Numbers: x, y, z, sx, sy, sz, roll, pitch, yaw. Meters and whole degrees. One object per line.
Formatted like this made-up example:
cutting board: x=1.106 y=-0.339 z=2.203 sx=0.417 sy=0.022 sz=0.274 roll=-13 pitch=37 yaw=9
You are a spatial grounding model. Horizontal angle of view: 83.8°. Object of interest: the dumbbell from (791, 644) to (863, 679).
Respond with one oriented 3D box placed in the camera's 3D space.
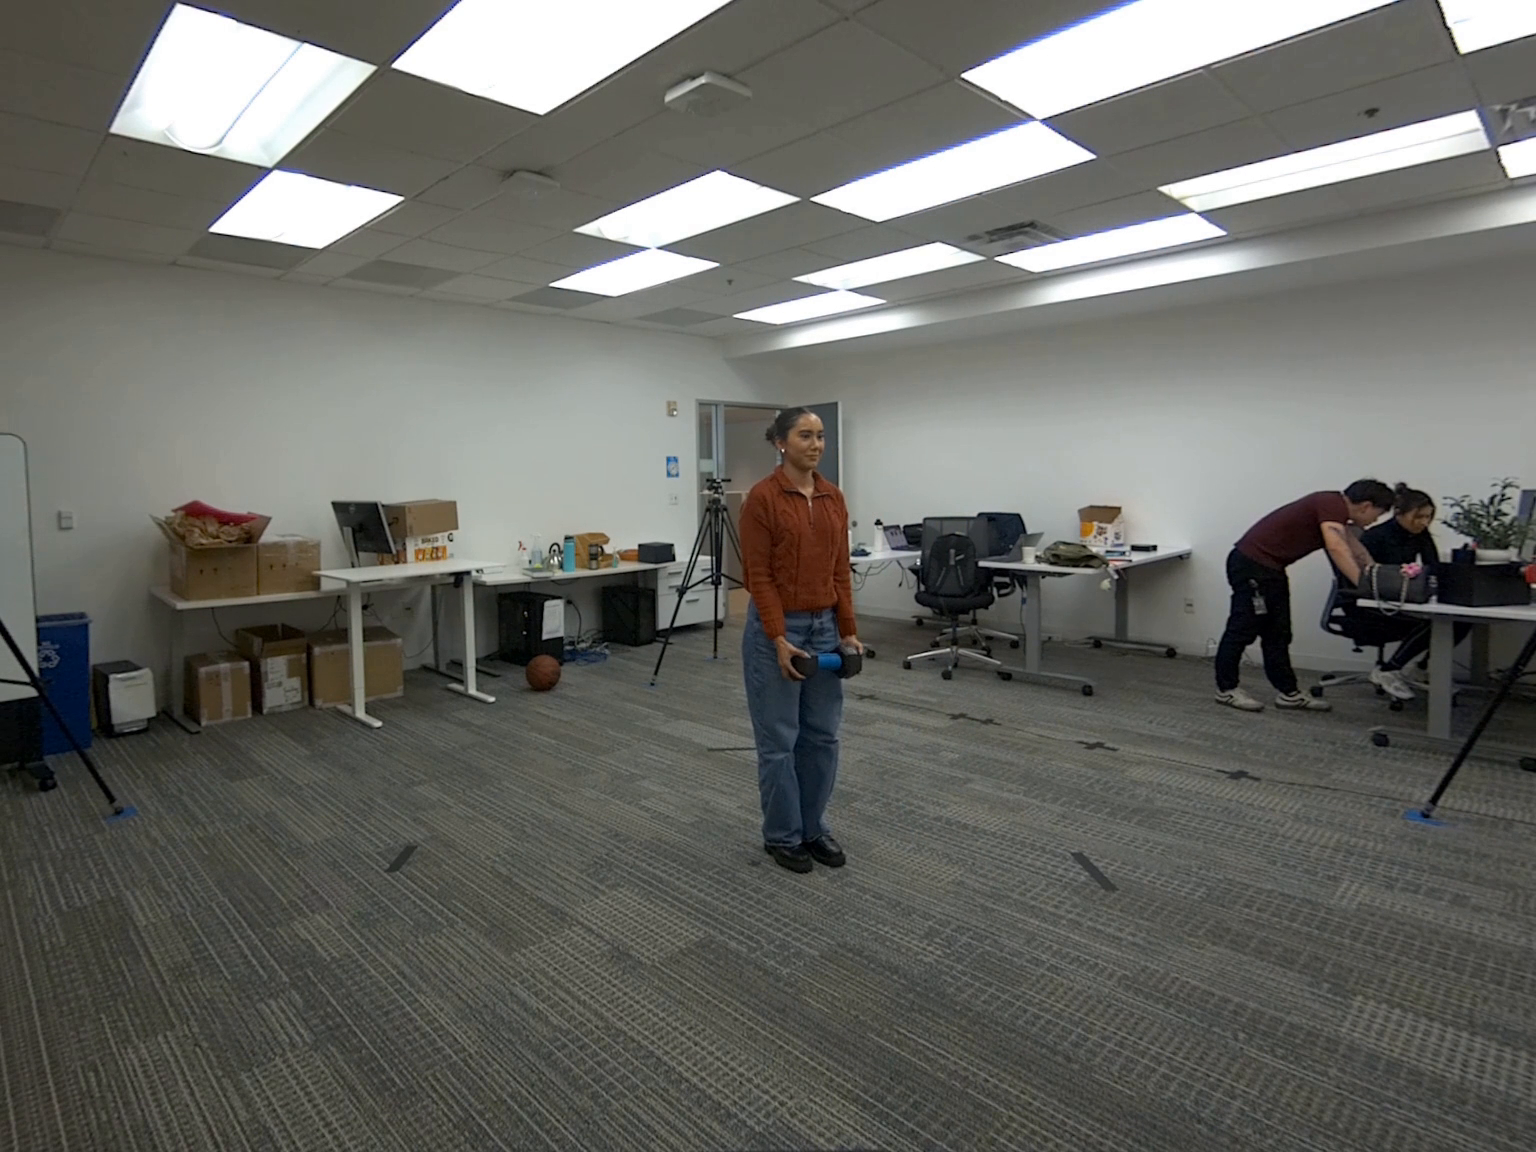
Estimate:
dumbbell: x=0.187 y=0.299 z=3.019 sx=0.286 sy=0.123 sz=0.111 roll=2 pitch=1 yaw=-32
